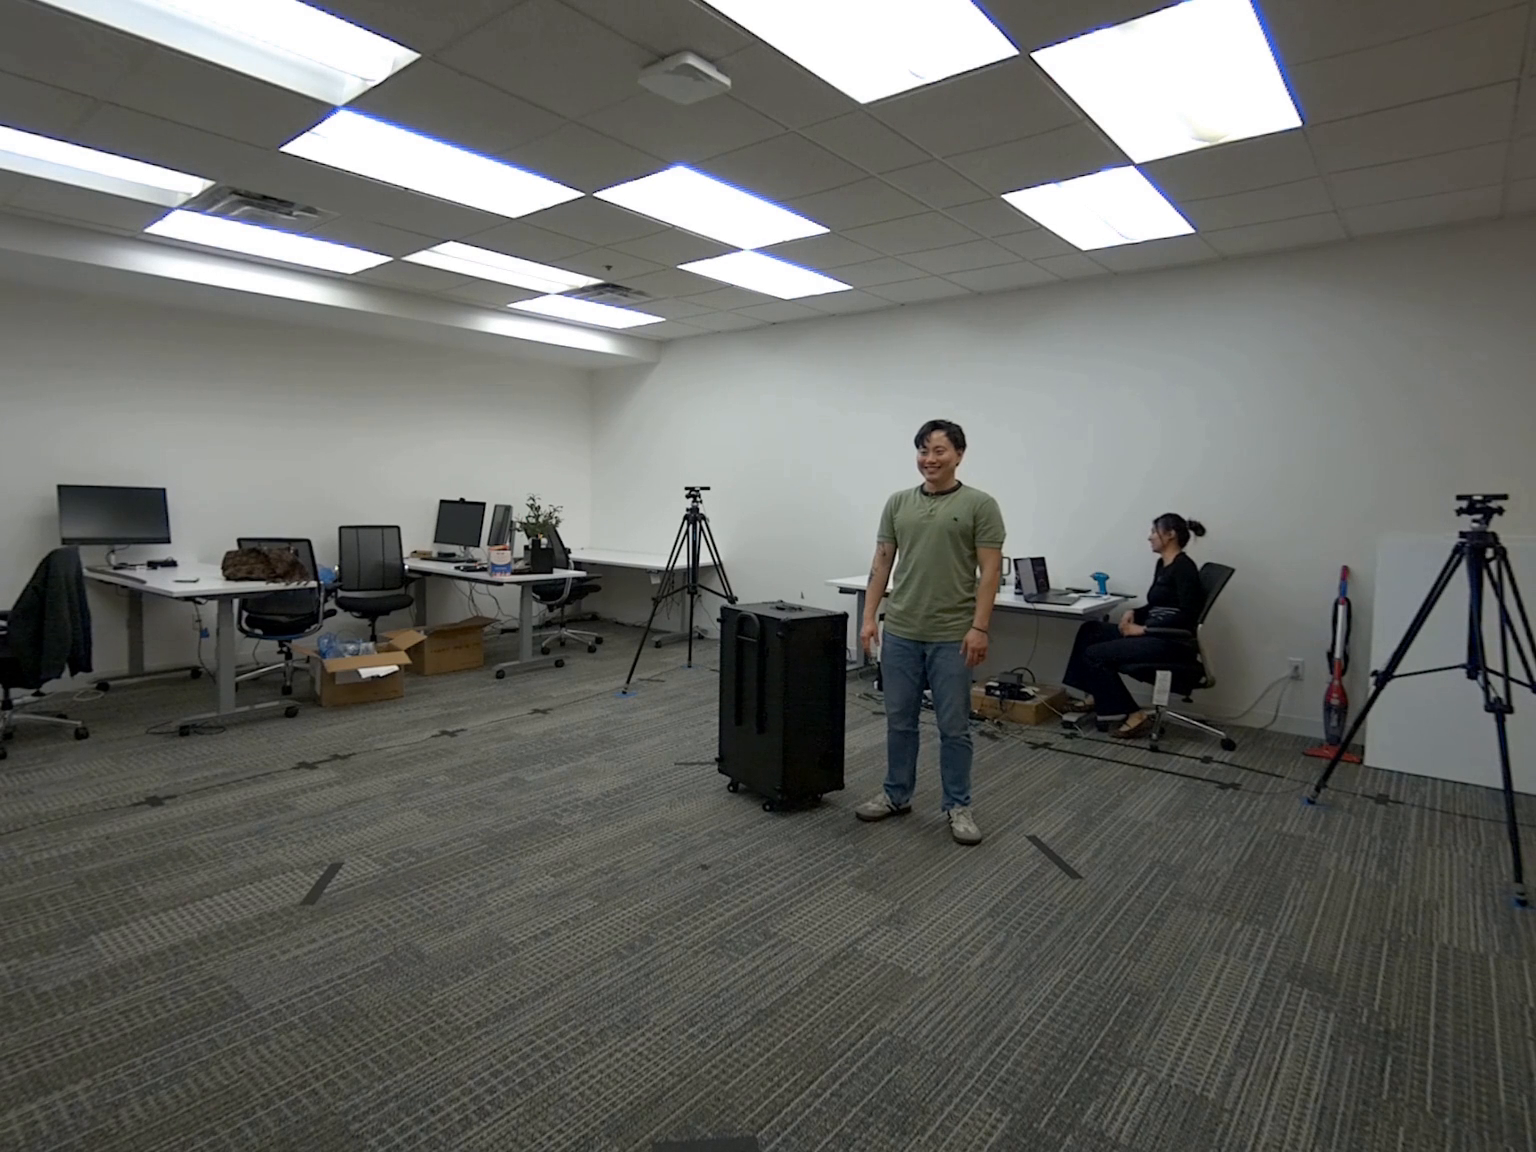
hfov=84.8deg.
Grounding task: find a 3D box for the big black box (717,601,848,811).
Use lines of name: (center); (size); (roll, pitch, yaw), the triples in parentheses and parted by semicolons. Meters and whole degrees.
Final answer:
big black box: (0.038, 0.567, 3.837); (0.385, 0.858, 0.538); (-3, 5, -35)
